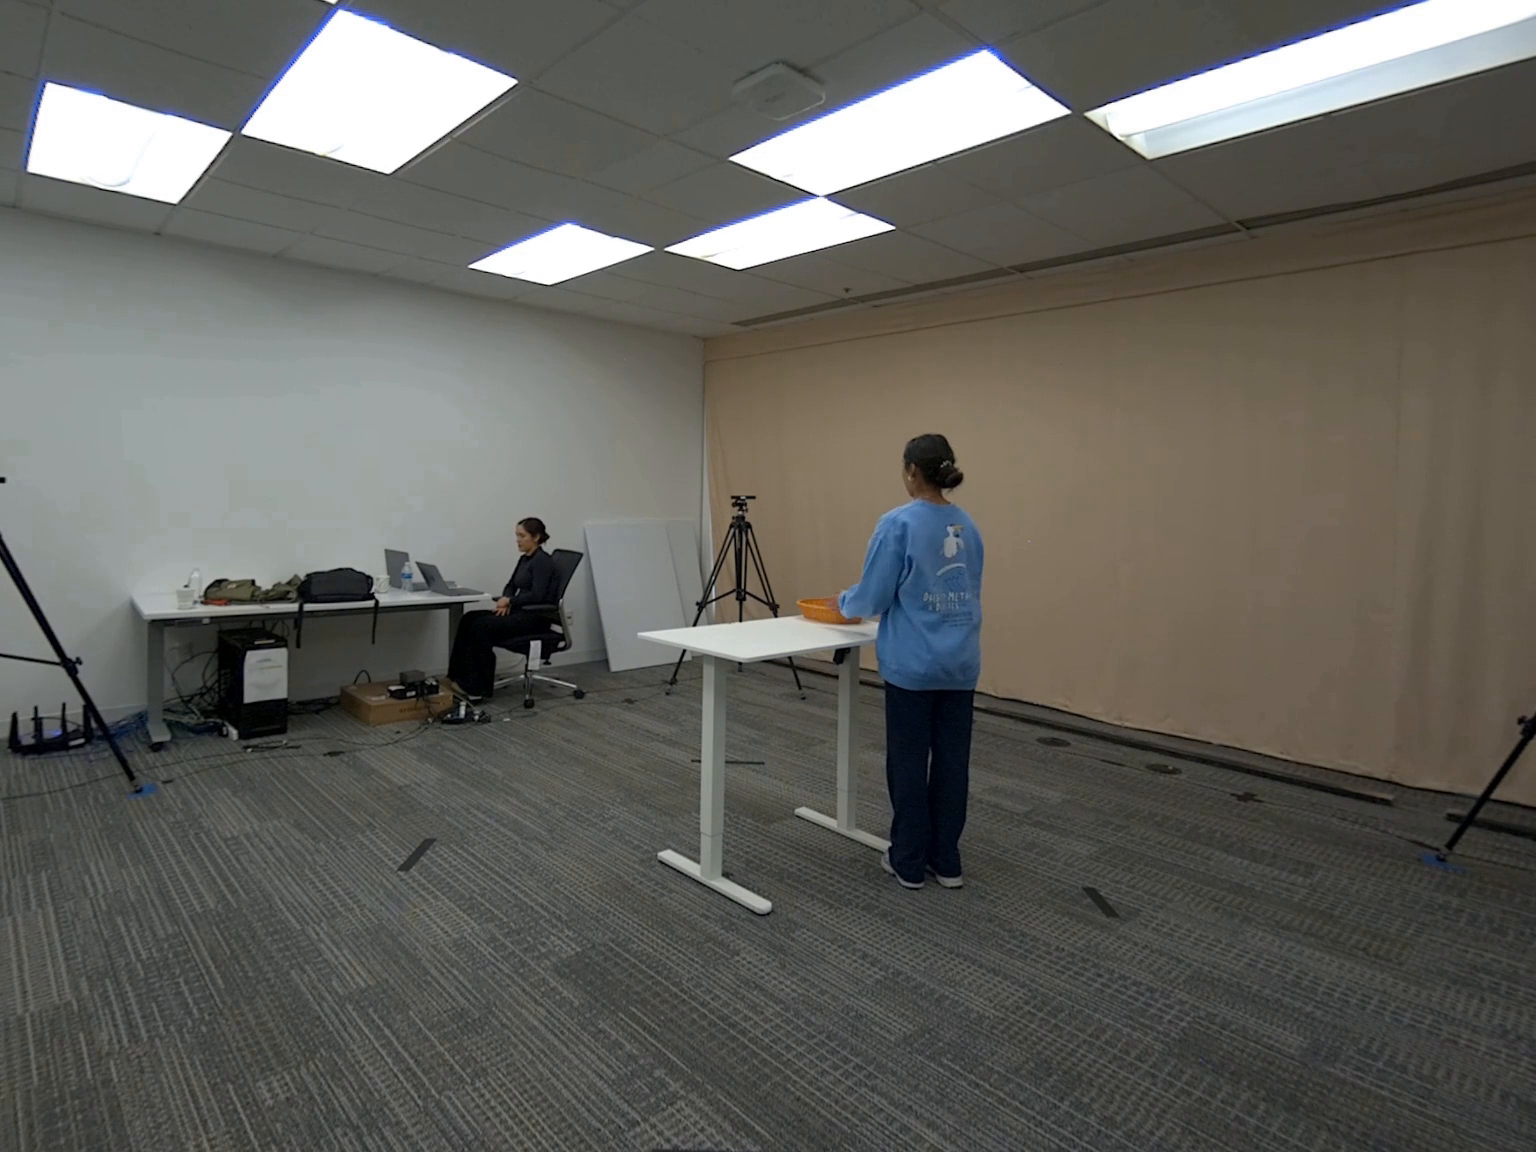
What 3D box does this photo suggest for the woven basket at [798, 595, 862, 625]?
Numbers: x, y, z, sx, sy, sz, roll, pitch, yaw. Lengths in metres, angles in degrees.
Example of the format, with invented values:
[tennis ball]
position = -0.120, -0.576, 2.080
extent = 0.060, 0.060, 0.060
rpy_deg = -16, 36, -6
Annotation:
[woven basket]
position = 0.274, 0.155, 3.576
extent = 0.247, 0.073, 0.359
rpy_deg = -4, 6, -34
